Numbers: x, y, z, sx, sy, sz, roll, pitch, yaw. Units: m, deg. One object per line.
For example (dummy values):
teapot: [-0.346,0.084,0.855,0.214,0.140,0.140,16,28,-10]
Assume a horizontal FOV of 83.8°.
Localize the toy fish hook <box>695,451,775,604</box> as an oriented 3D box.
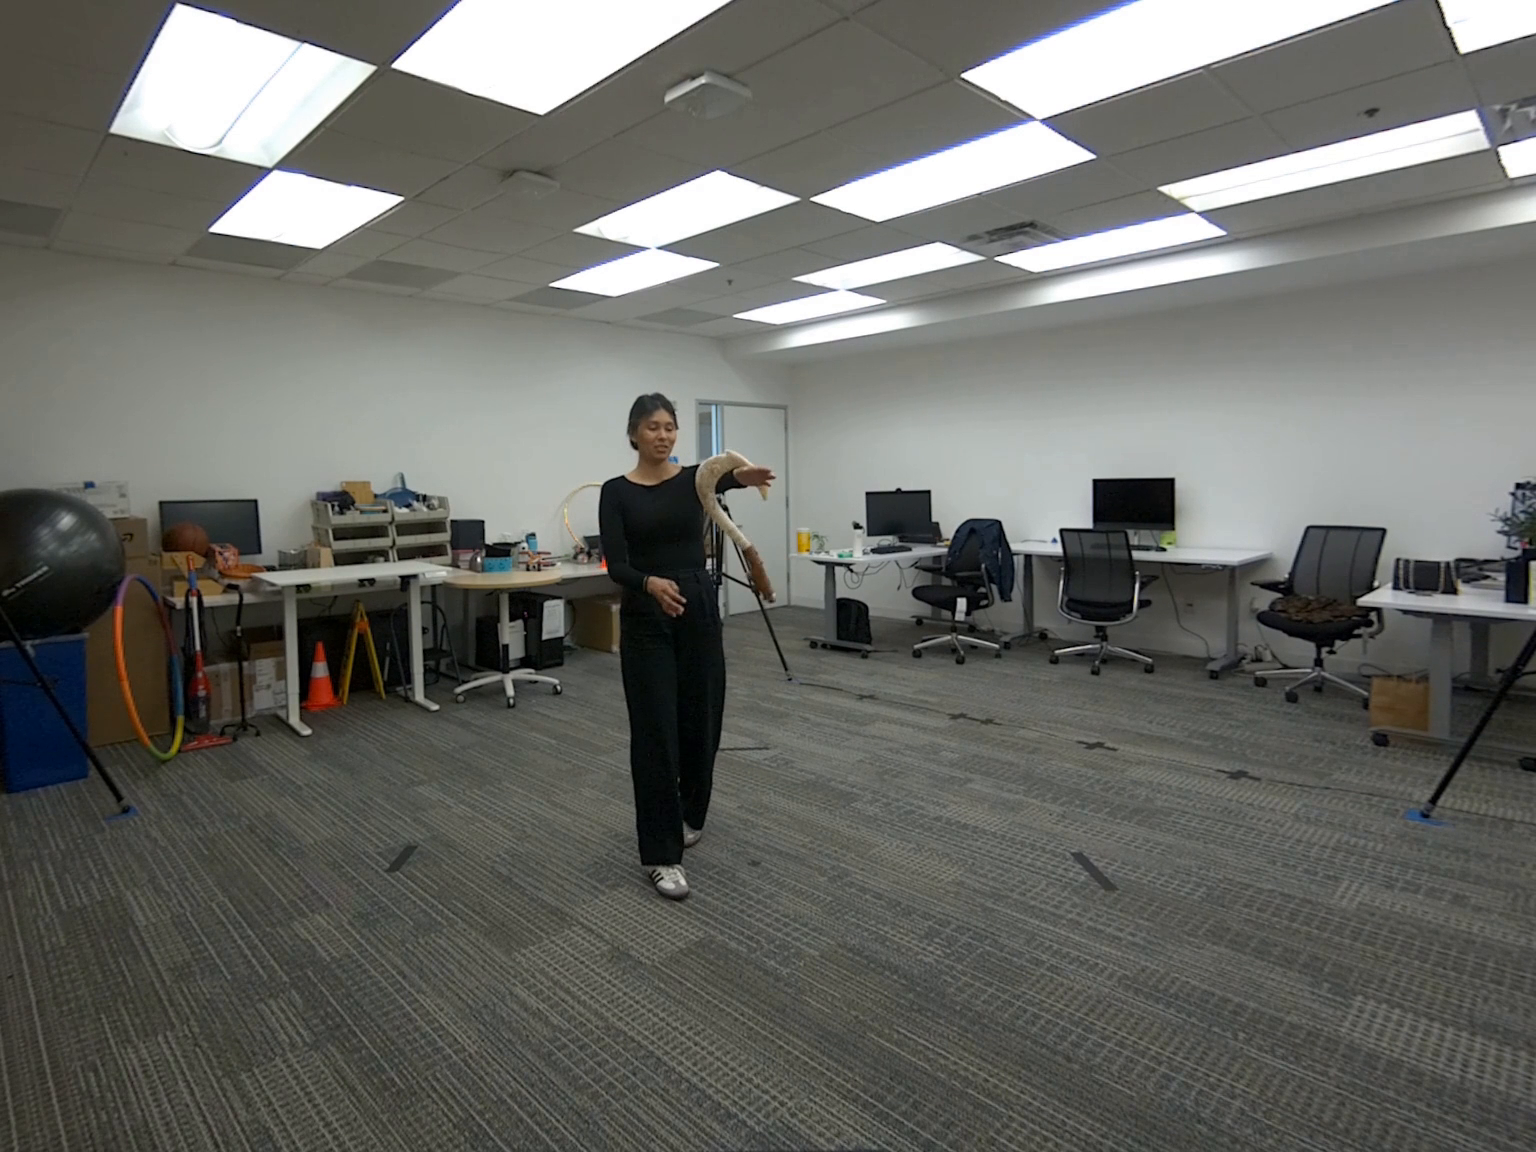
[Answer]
toy fish hook: [-0.060,-0.153,2.695,0.228,0.502,0.048,-21,9,27]
